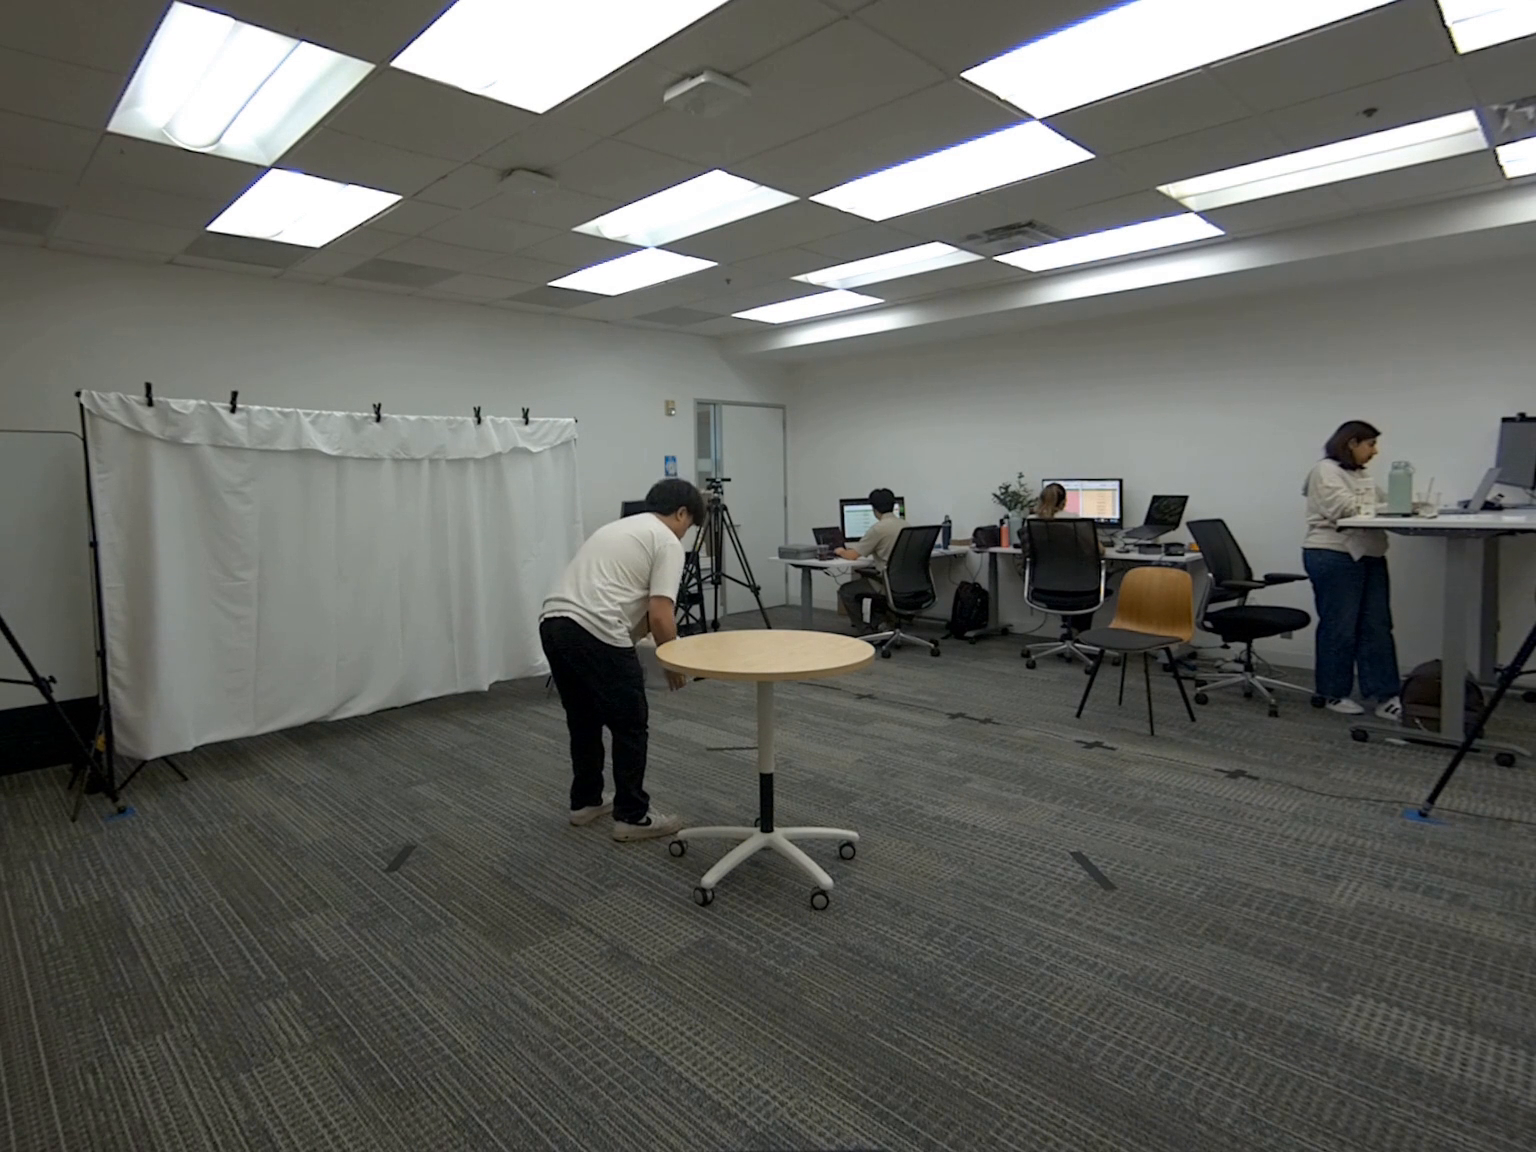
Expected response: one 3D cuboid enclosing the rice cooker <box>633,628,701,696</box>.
[{"bbox_3d":[-0.448,0.352,3.606,0.212,0.232,0.227,-6,4,-44],"label":"rice cooker"}]
